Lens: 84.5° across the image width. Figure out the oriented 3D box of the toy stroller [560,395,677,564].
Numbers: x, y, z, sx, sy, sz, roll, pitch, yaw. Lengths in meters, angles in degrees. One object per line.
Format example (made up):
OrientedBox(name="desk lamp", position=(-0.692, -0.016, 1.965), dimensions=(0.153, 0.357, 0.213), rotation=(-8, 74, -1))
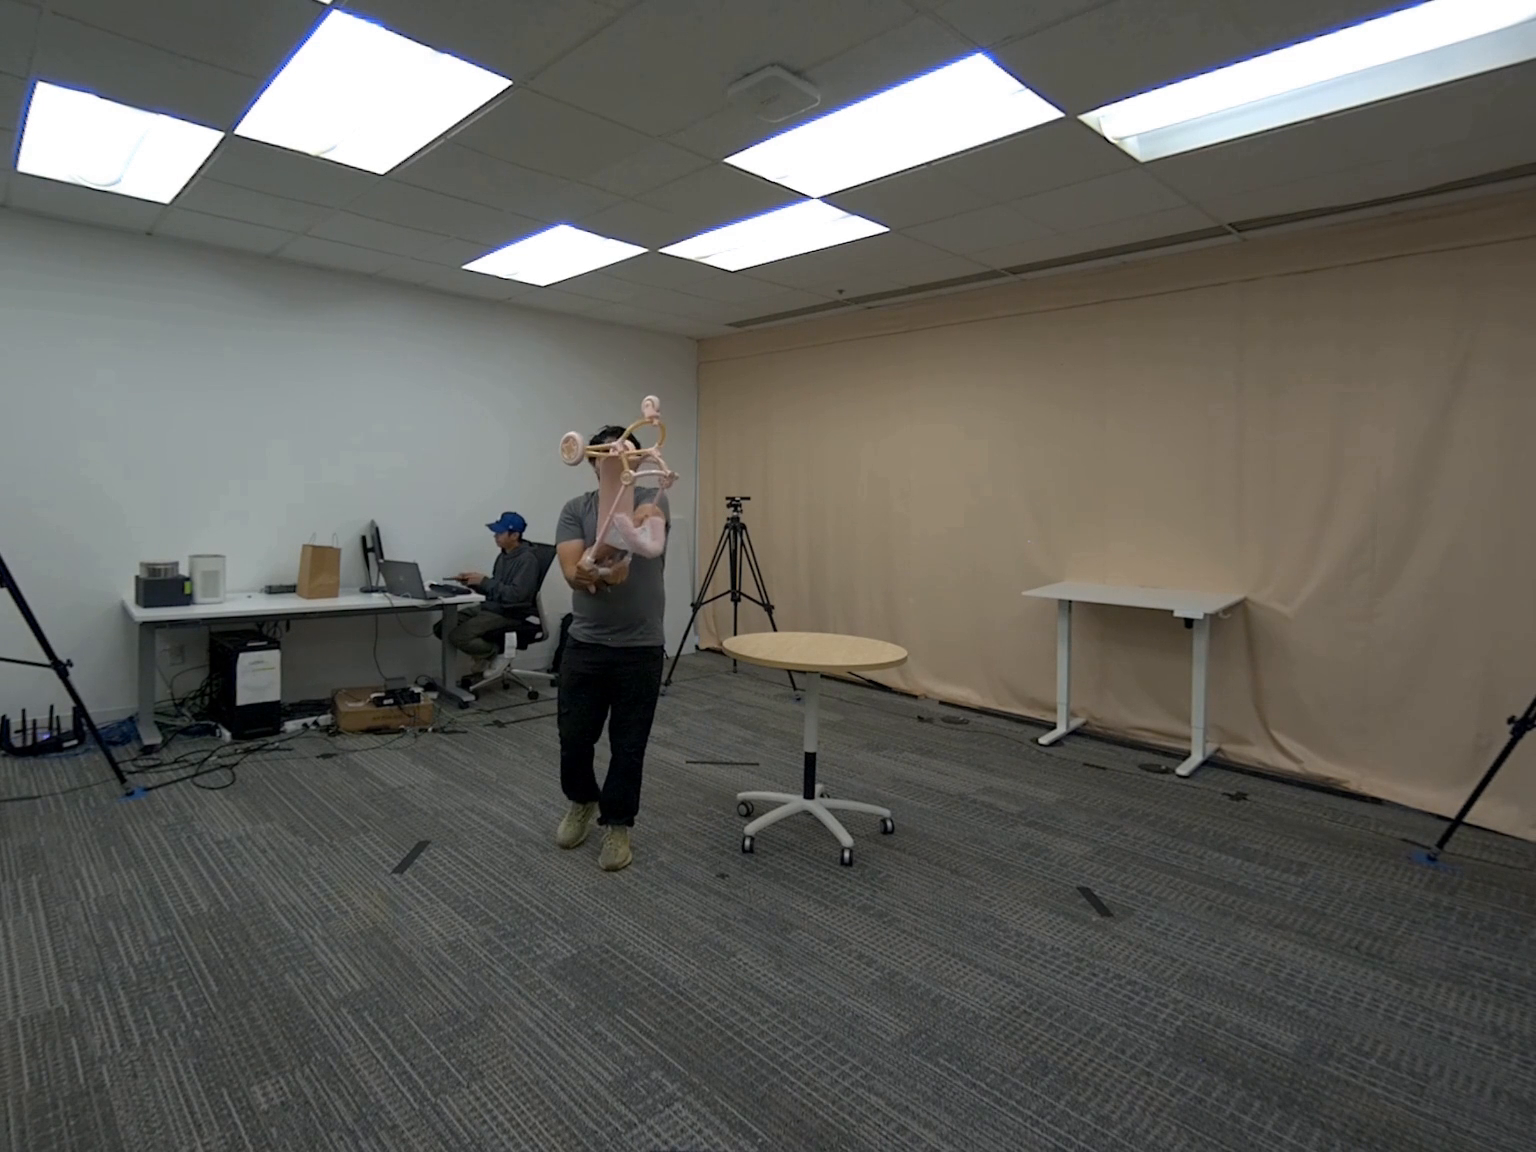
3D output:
OrientedBox(name="toy stroller", position=(-0.459, -0.291, 2.745), dimensions=(0.346, 0.539, 0.275), rotation=(-14, -9, 27))
